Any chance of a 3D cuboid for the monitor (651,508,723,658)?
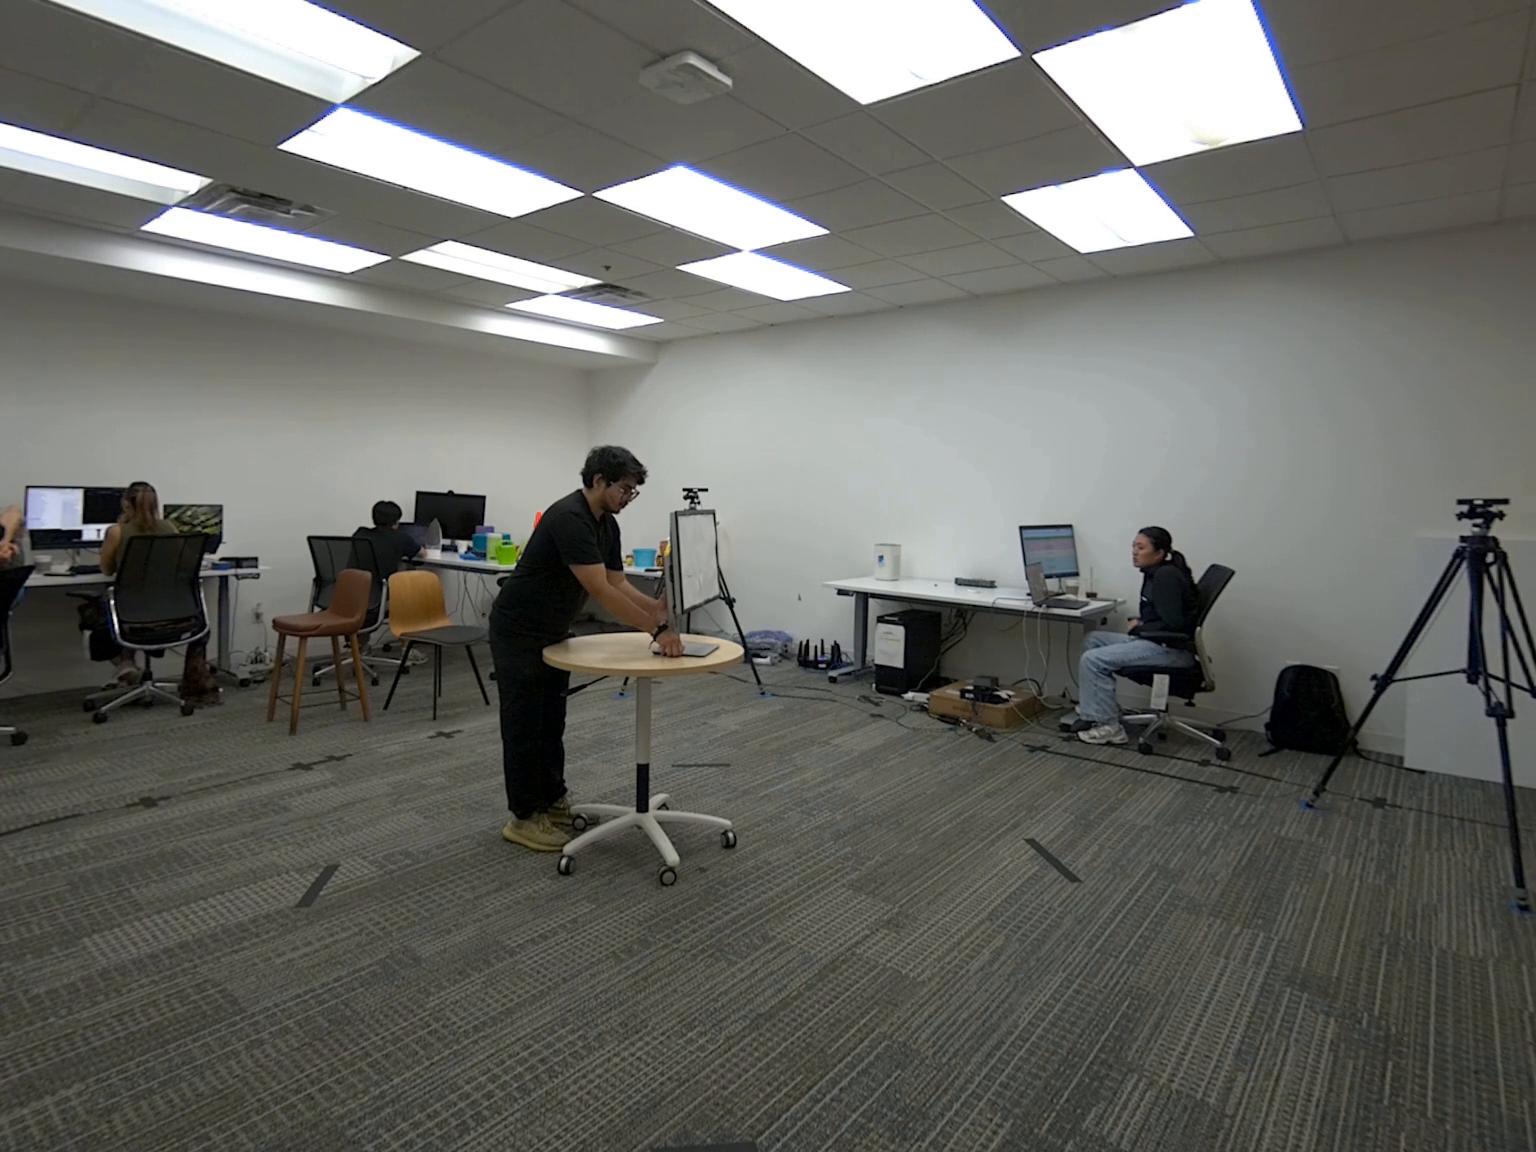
[{"bbox_3d":[-0.340,0.020,3.234,0.213,0.553,0.559,-1,3,12],"label":"monitor"}]
